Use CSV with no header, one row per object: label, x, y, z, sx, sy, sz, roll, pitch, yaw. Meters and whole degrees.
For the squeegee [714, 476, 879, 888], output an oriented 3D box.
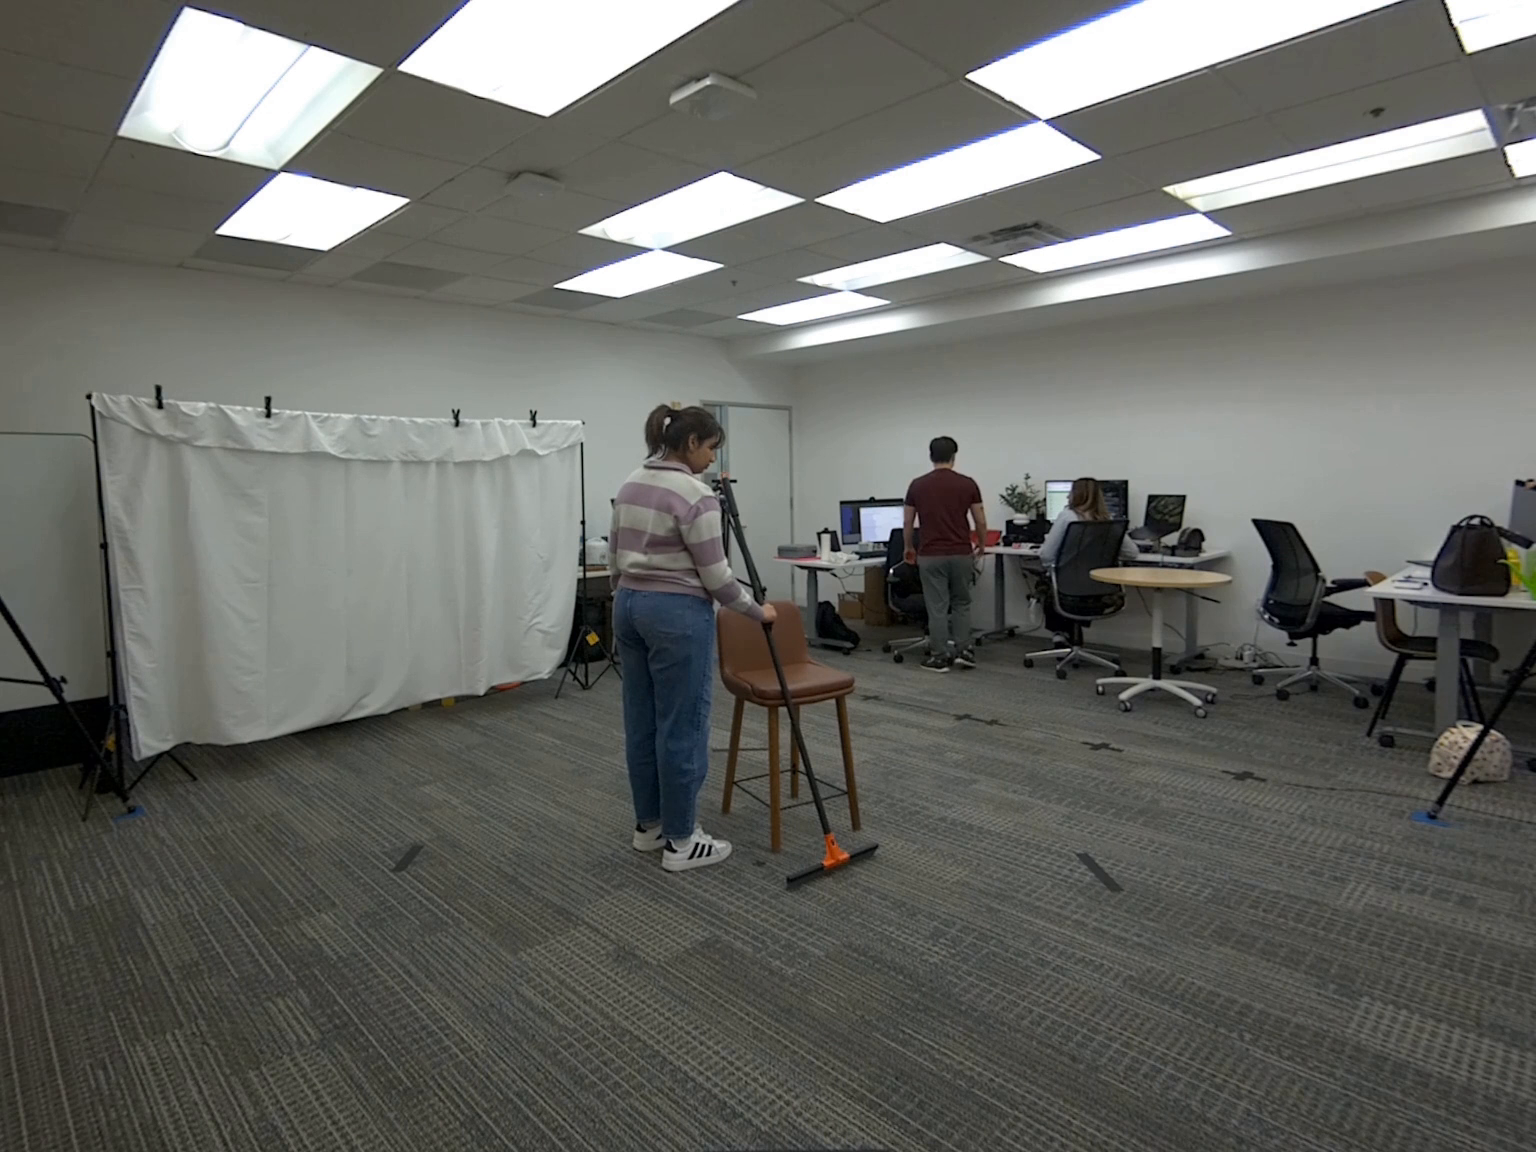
squeegee,0.048,0.309,3.210,0.425,1.562,0.053,-2,-19,-41
